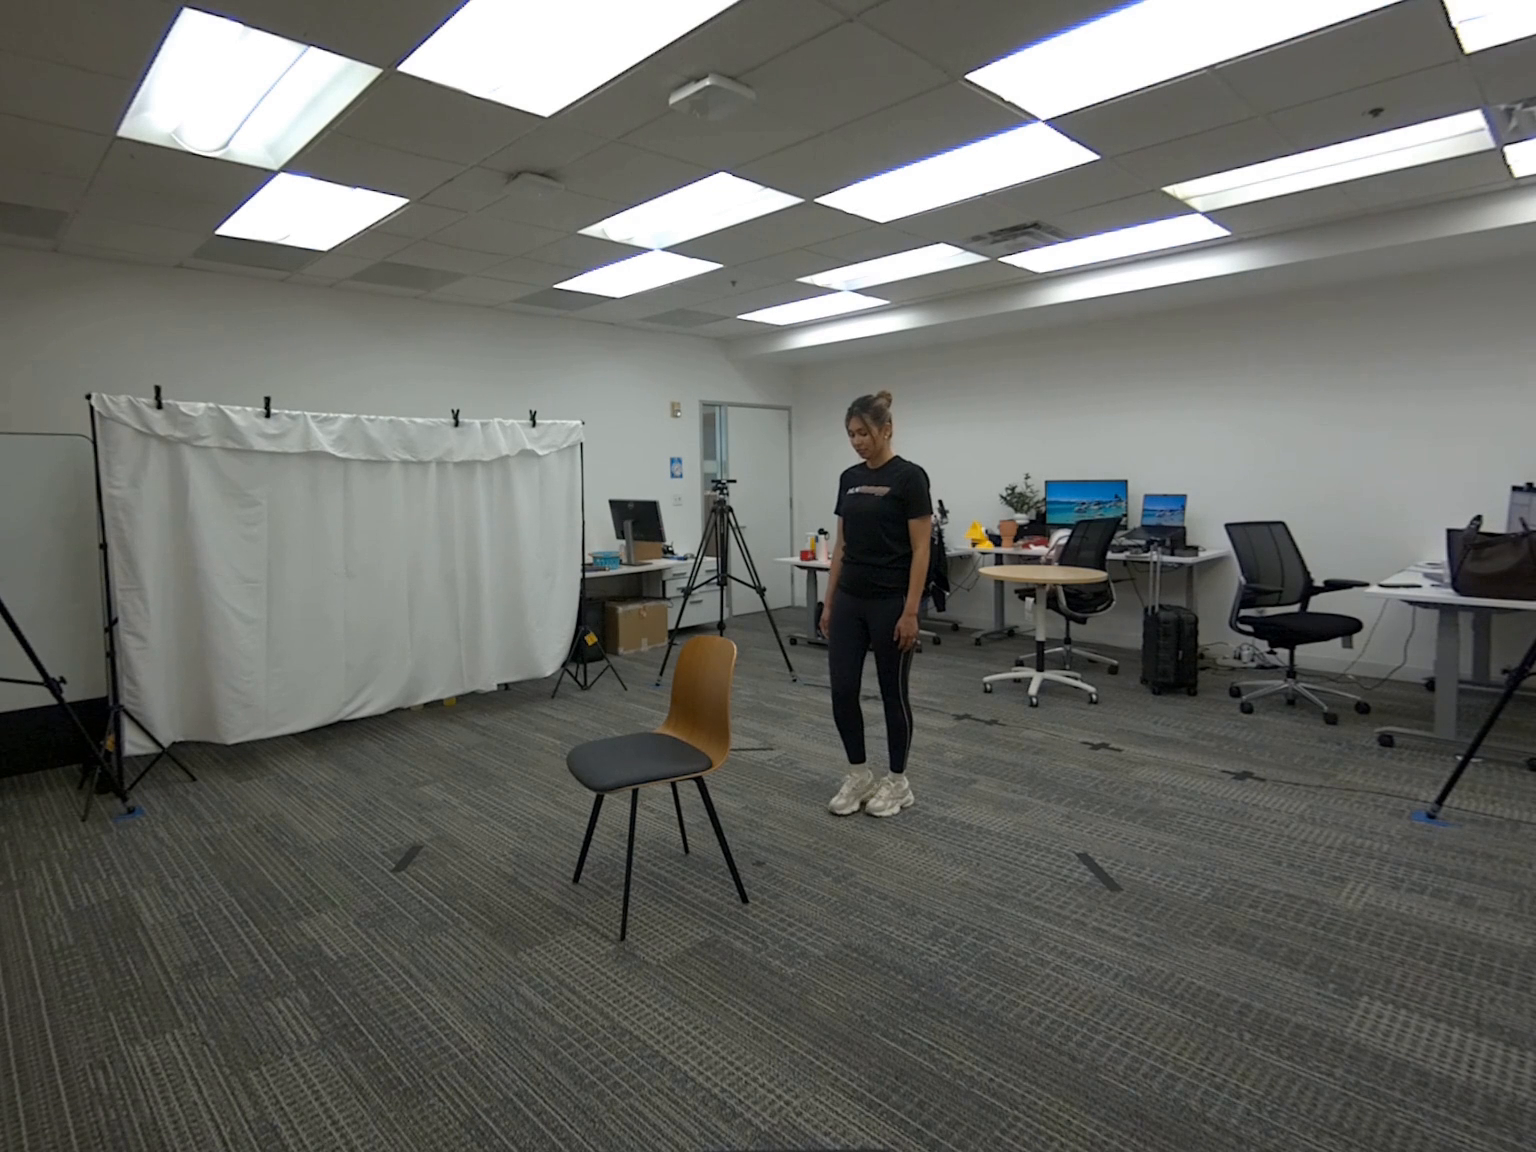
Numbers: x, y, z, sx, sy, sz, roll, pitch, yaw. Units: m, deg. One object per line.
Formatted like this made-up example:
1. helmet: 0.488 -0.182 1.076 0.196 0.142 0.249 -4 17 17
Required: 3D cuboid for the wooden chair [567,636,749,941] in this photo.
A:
1. wooden chair: -0.386 0.654 2.864 0.510 0.876 0.491 1 3 -31
